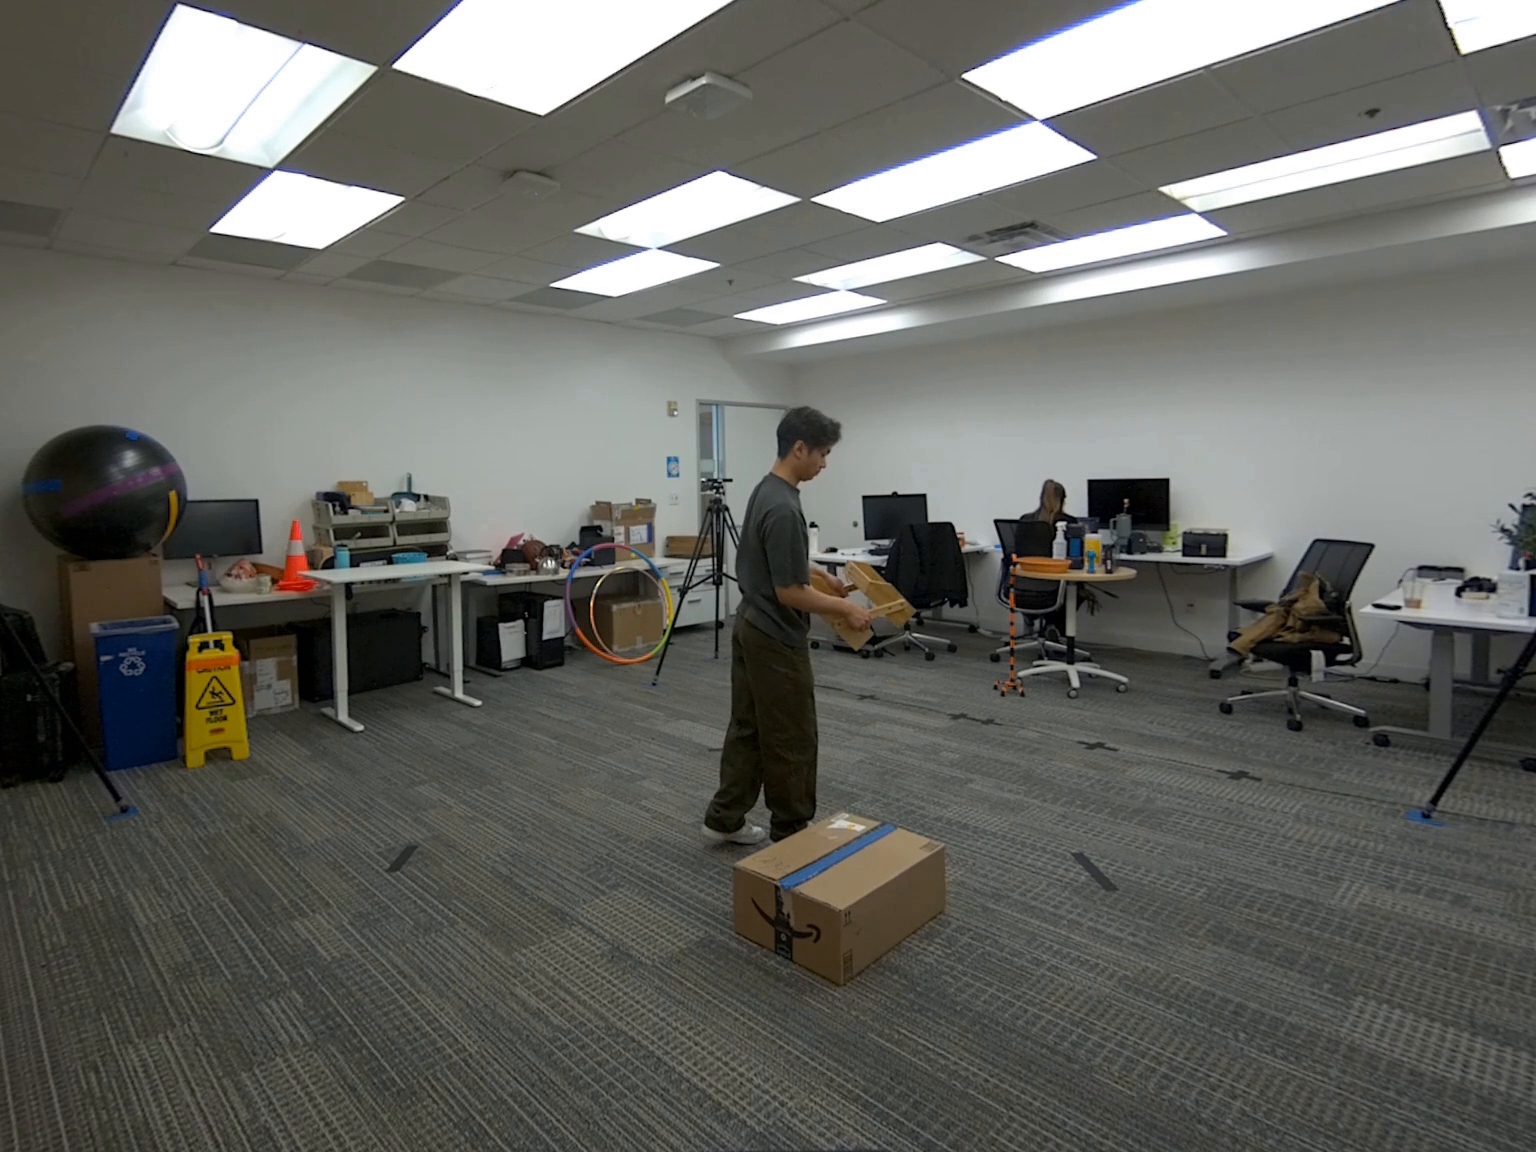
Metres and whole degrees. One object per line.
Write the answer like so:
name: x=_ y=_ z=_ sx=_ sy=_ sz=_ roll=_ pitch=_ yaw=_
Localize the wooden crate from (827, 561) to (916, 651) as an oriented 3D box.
wooden crate: x=0.319 y=0.067 z=3.224 sx=0.273 sy=0.296 sz=0.331 roll=-44 pitch=16 yaw=4
